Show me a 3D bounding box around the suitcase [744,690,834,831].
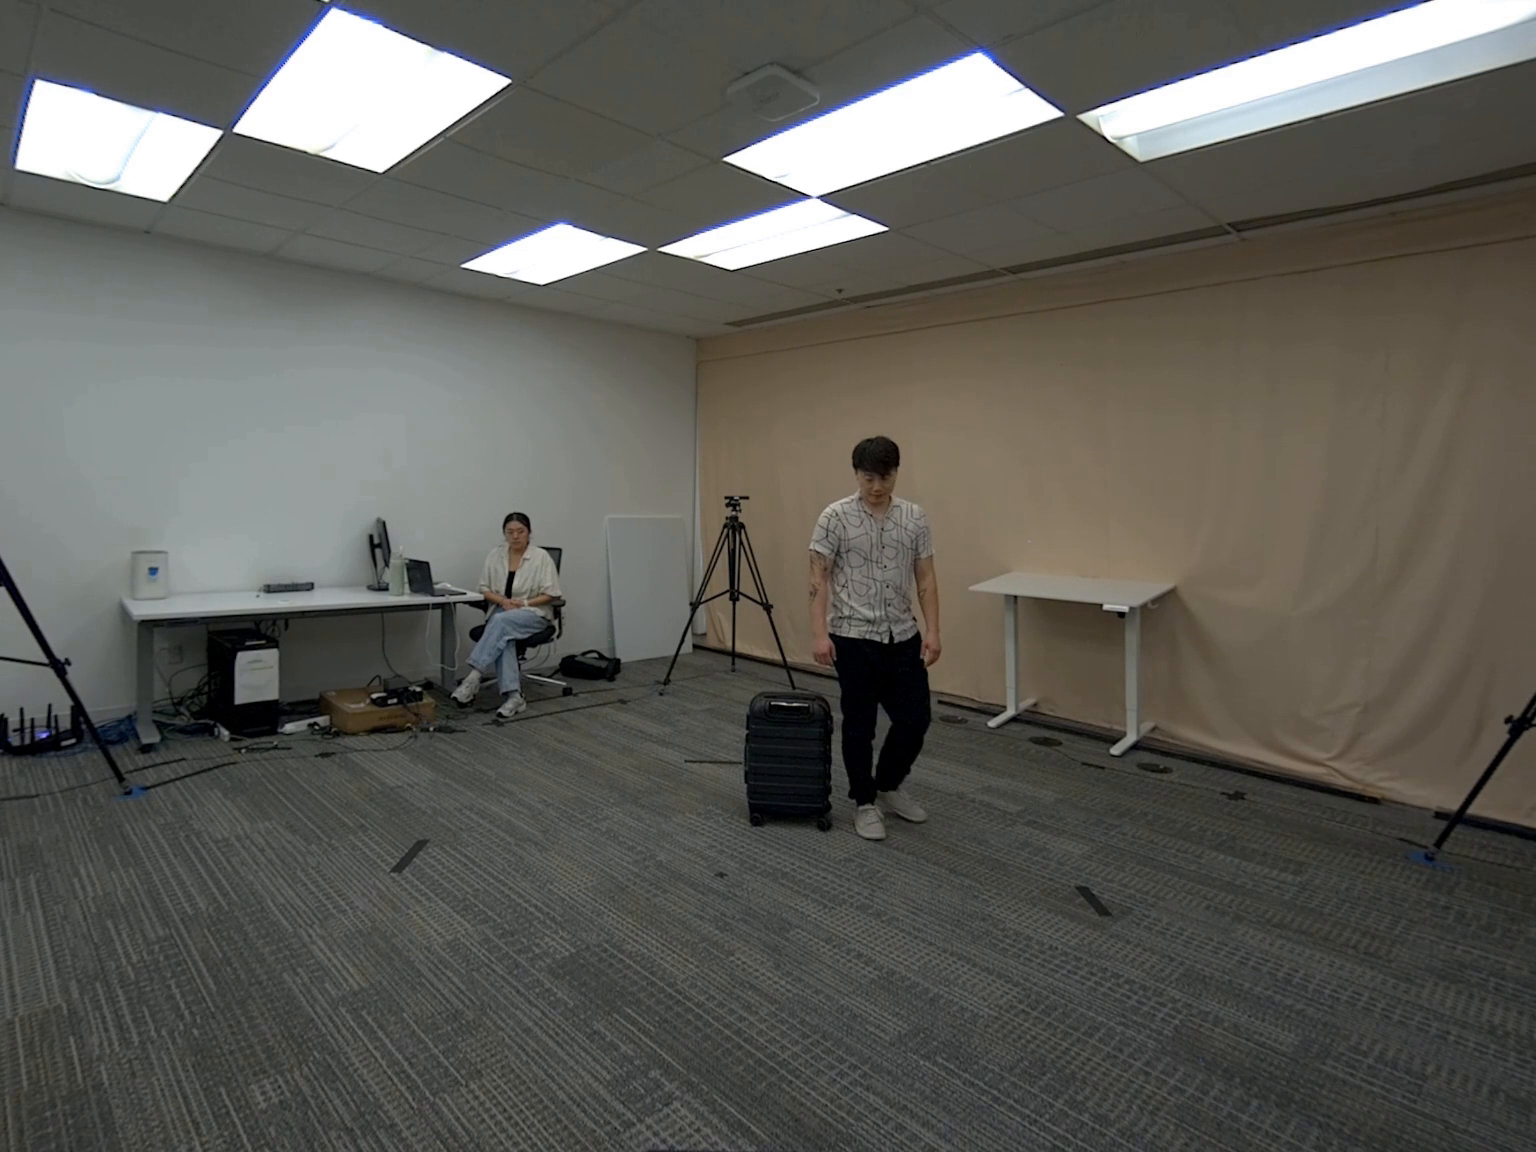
[{"bbox_3d":[0.081,0.785,3.679,0.377,0.548,0.247,0,2,7],"label":"suitcase"}]
